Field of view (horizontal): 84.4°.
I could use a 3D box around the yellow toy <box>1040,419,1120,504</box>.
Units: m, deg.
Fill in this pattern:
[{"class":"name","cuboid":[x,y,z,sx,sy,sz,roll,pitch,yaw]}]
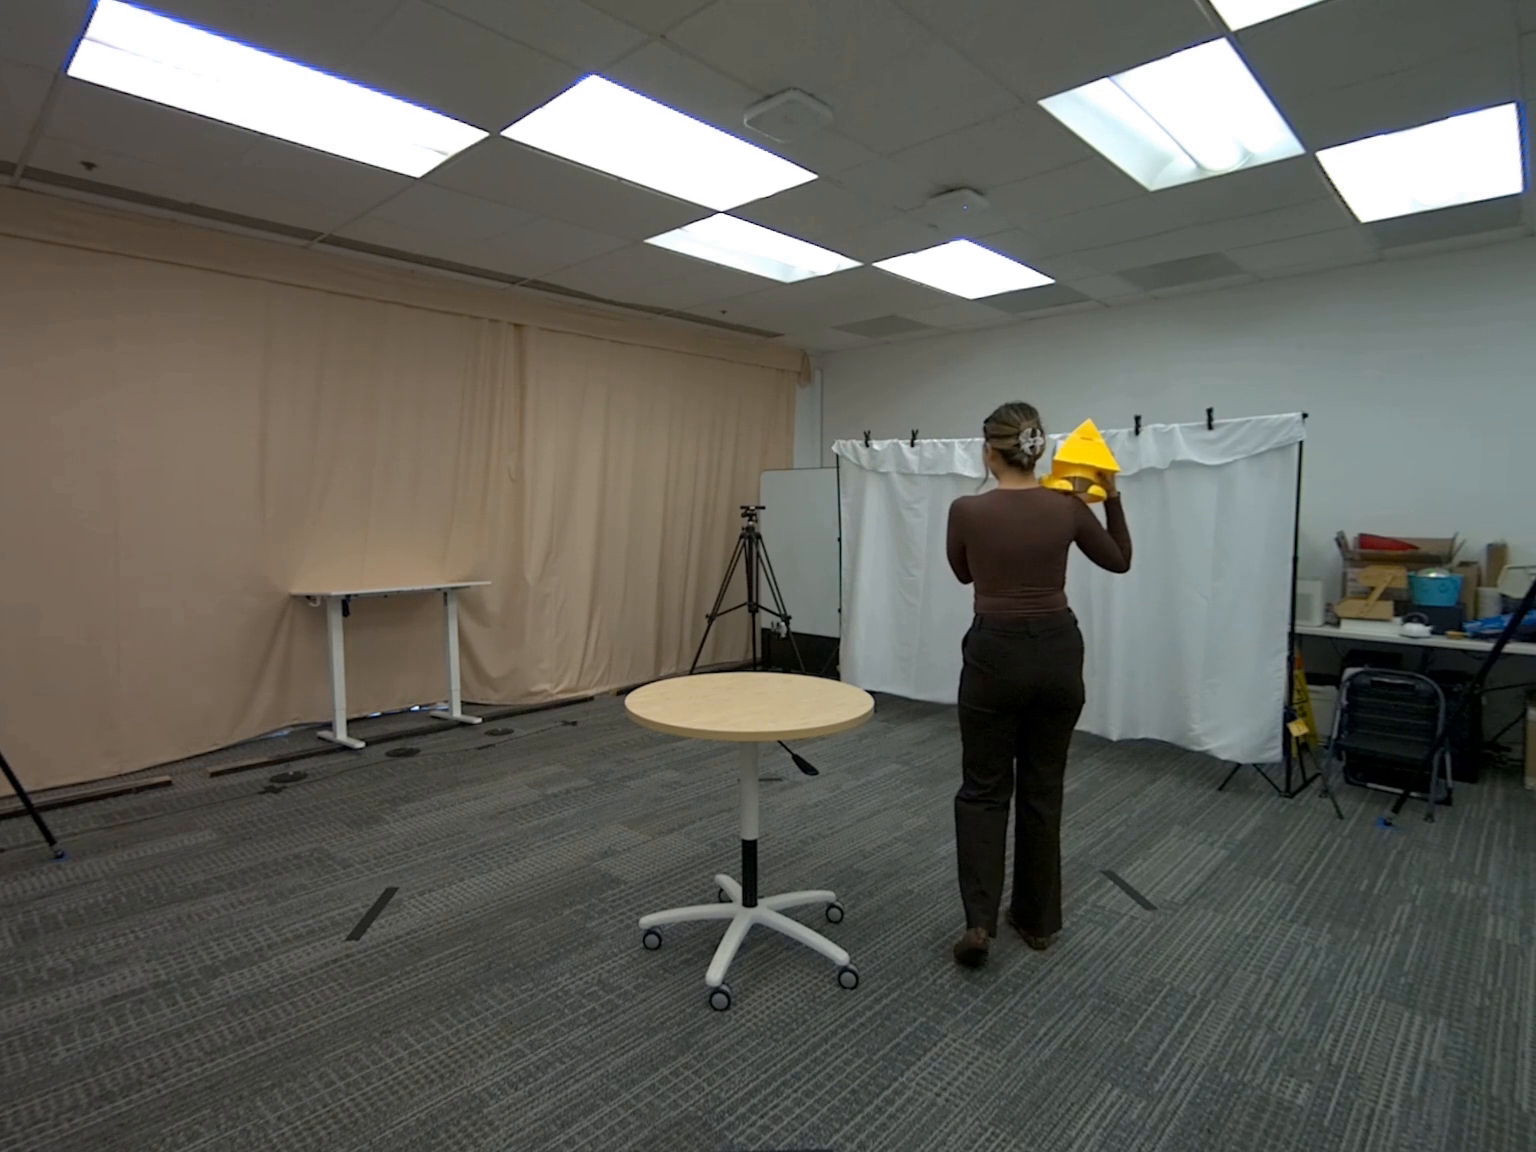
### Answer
[{"class":"yellow toy","cuboid":[0.965,-0.361,2.599,0.204,0.231,0.193,11,-6,-2]}]
